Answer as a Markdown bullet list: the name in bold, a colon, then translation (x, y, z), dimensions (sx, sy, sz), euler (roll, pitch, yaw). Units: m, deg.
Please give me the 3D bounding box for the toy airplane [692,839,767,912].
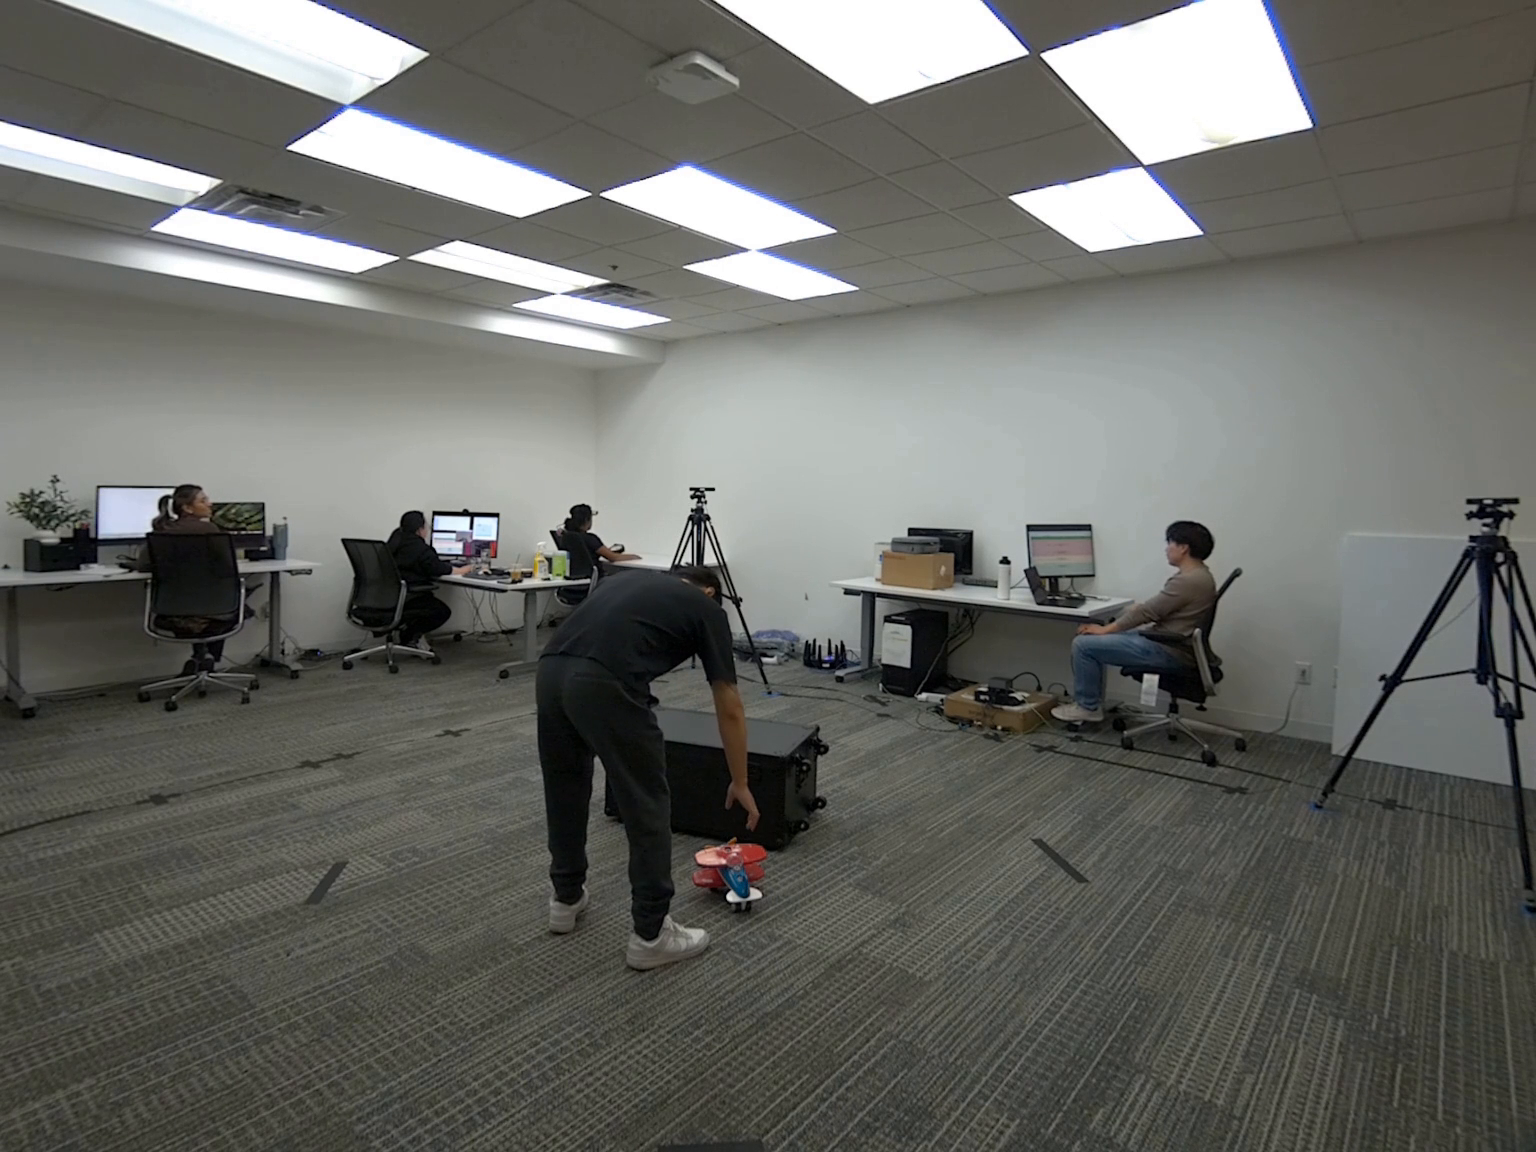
- **toy airplane**: translation (-0.114, 1.011, 2.892), dimensions (0.268, 0.156, 0.243), euler (4, 5, 42)
